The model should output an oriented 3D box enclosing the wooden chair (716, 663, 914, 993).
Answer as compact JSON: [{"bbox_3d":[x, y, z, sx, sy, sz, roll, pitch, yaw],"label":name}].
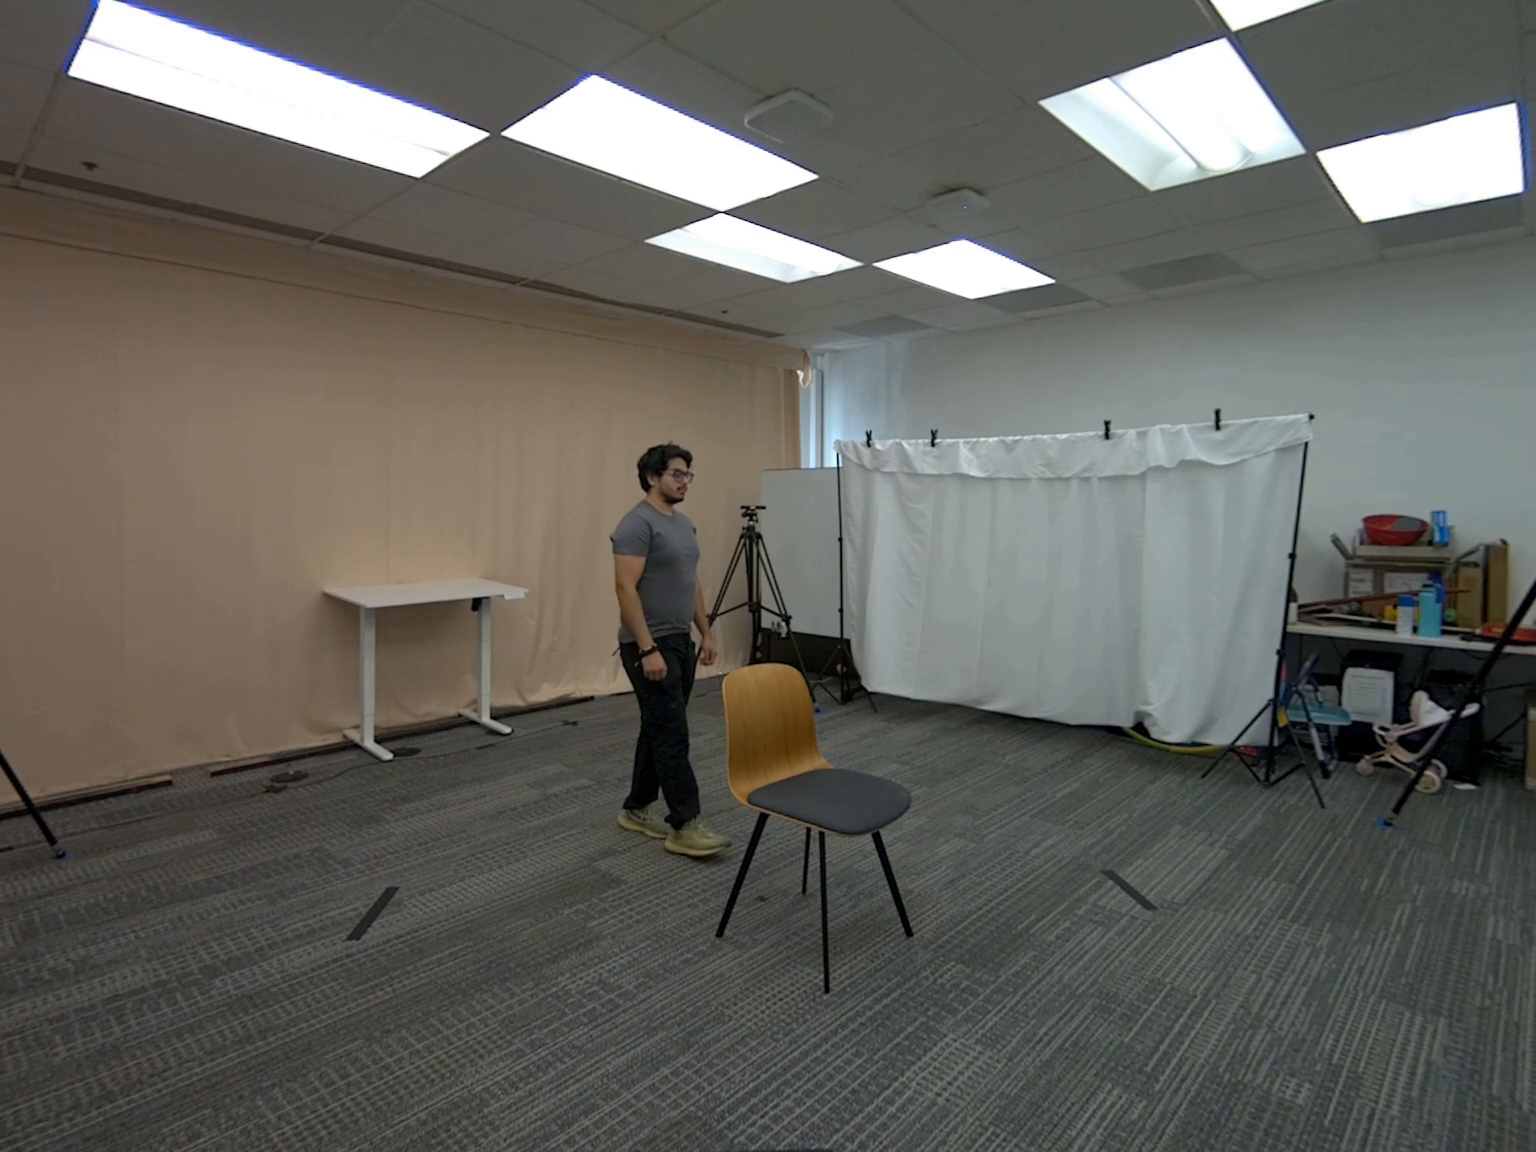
[{"bbox_3d":[0.158,0.743,2.682,0.539,0.877,0.463,-3,0,43],"label":"wooden chair"}]
